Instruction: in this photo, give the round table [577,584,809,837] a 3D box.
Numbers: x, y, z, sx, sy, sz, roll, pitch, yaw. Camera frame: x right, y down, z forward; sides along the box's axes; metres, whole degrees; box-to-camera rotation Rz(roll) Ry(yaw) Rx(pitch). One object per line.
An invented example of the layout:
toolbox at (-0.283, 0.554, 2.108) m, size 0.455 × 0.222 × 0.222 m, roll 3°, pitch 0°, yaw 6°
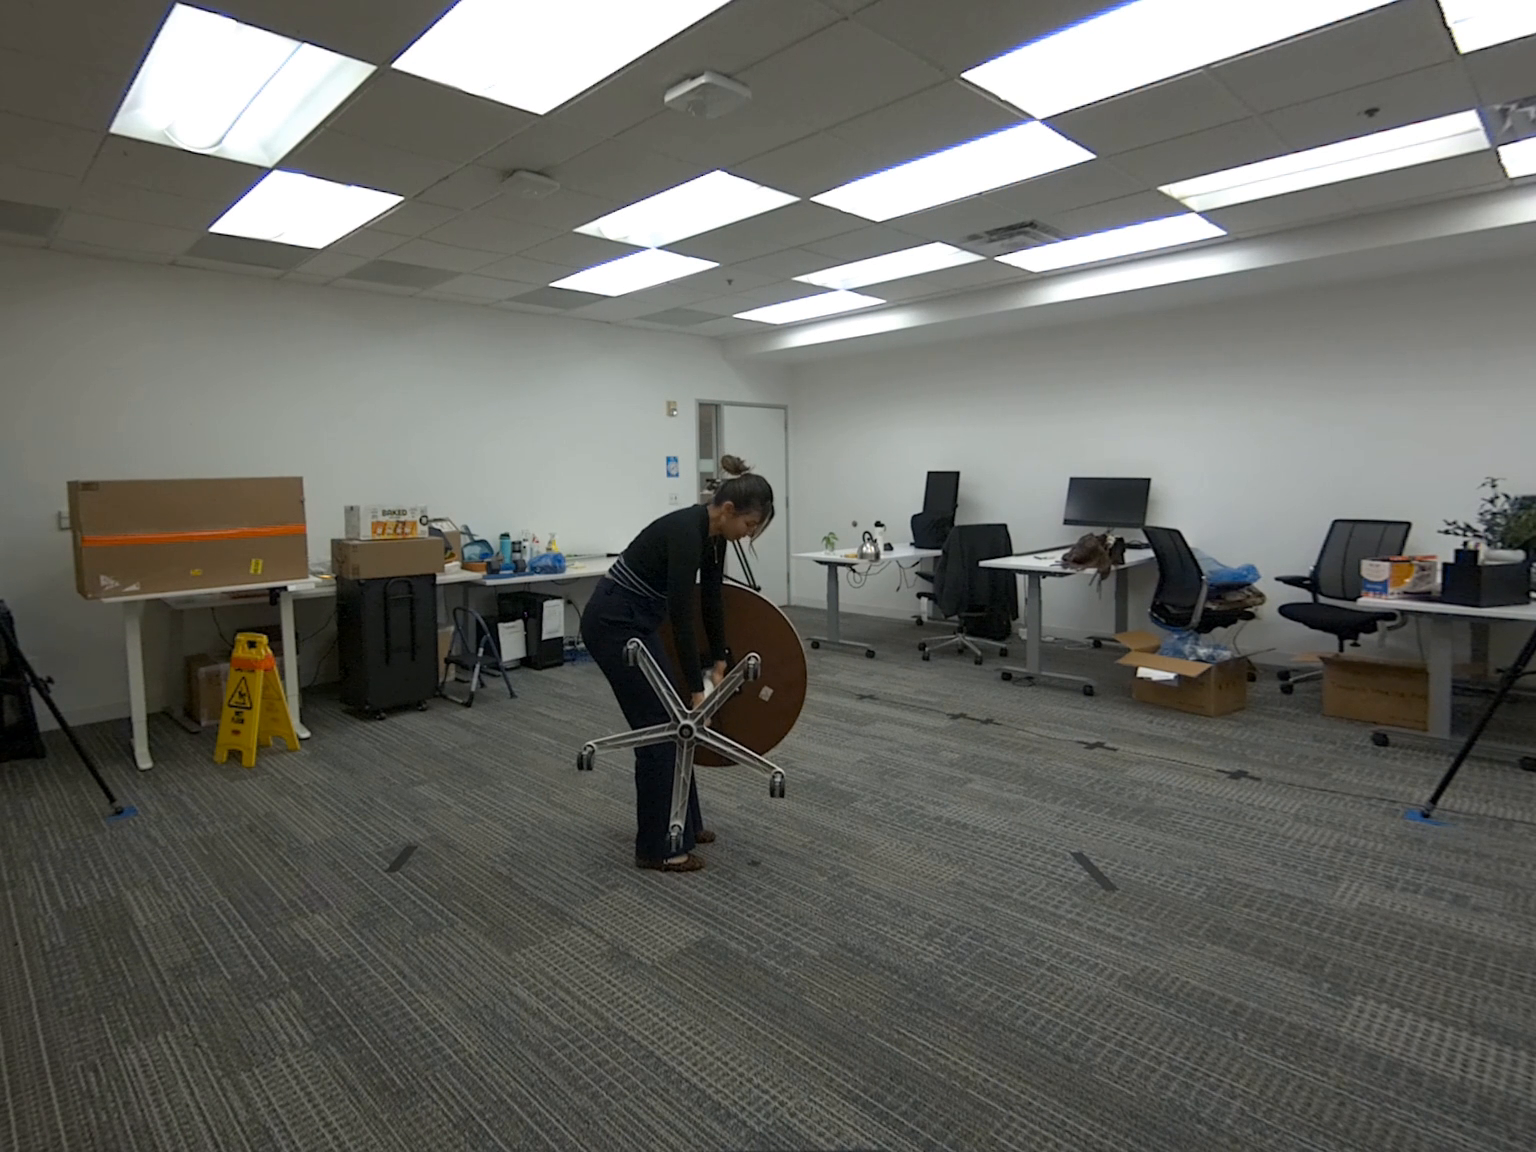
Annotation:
round table at (-0.246, 0.468, 3.085) m, size 0.768 × 0.759 × 0.795 m, roll -1°, pitch 8°, yaw 5°
